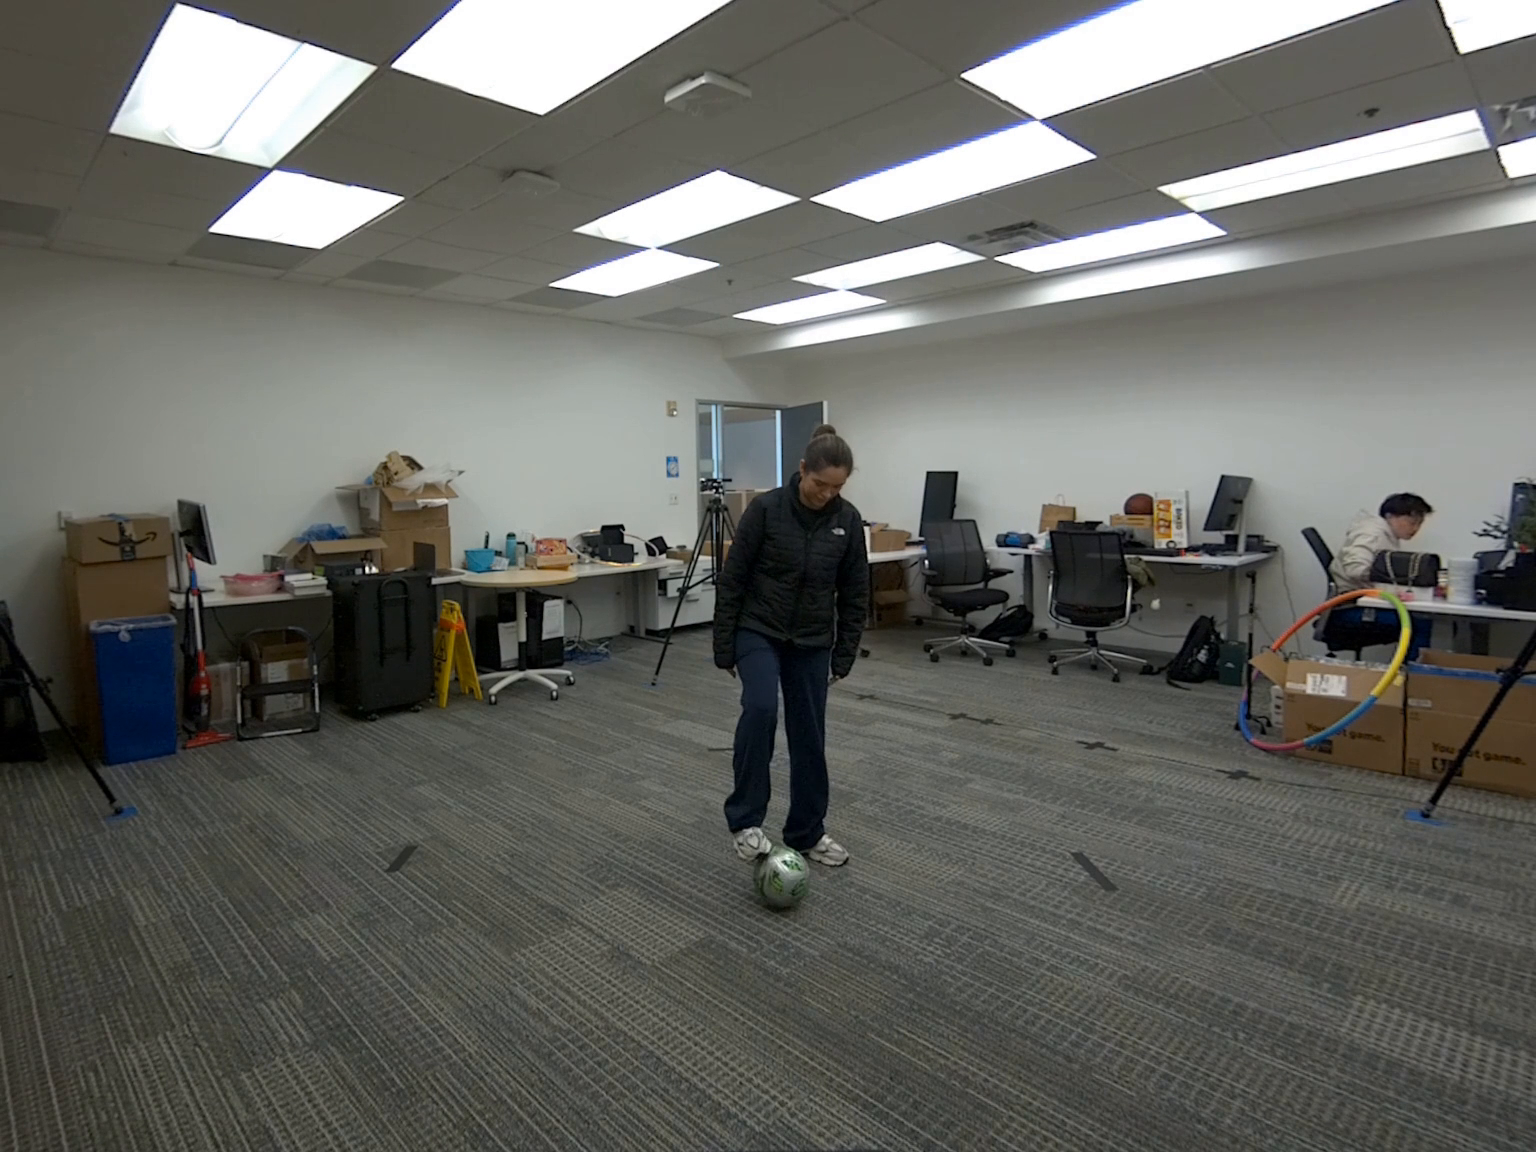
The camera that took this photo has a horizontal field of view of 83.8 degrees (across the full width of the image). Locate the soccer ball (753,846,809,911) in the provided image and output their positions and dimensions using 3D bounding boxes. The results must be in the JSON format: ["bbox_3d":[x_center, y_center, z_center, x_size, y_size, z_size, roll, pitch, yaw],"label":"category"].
[{"bbox_3d":[0.050,0.986,2.800,0.187,0.187,0.188,-1,5,-2],"label":"soccer ball"}]
